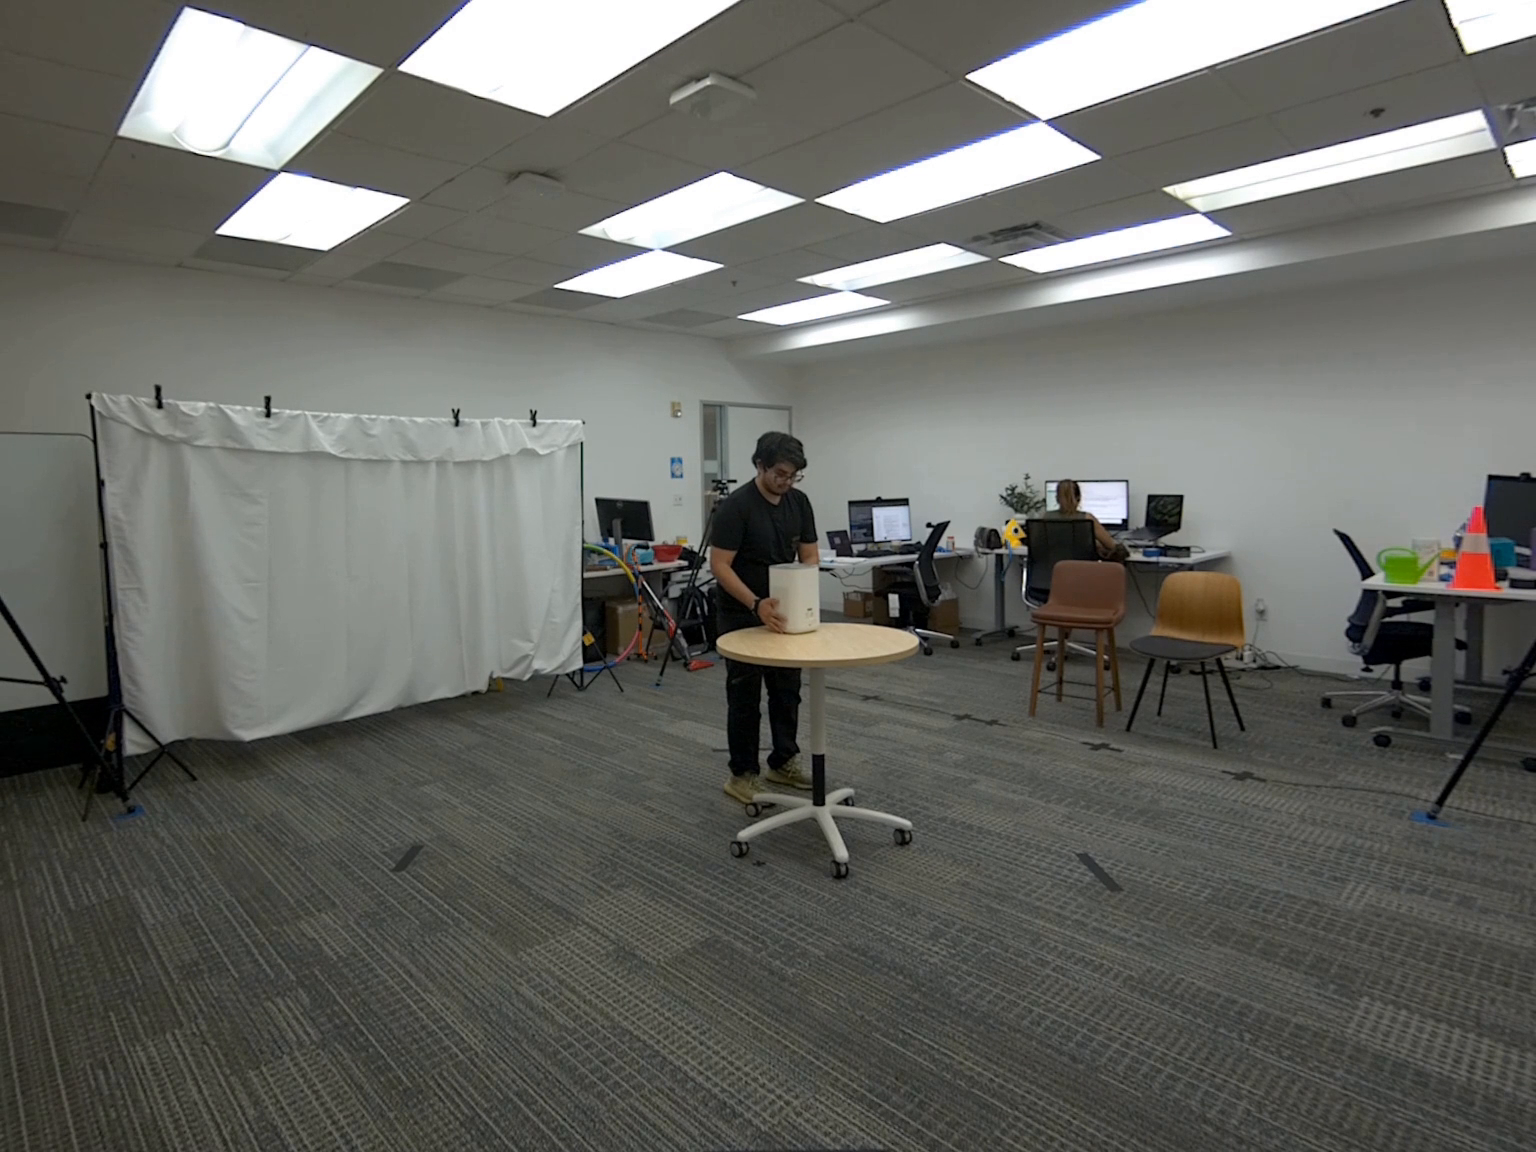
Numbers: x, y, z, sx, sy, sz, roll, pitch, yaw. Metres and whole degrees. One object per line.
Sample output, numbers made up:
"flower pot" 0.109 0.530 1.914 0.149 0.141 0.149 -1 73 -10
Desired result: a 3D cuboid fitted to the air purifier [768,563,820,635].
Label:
"air purifier" 0.107 0.090 3.455 0.177 0.264 0.166 3 6 43
